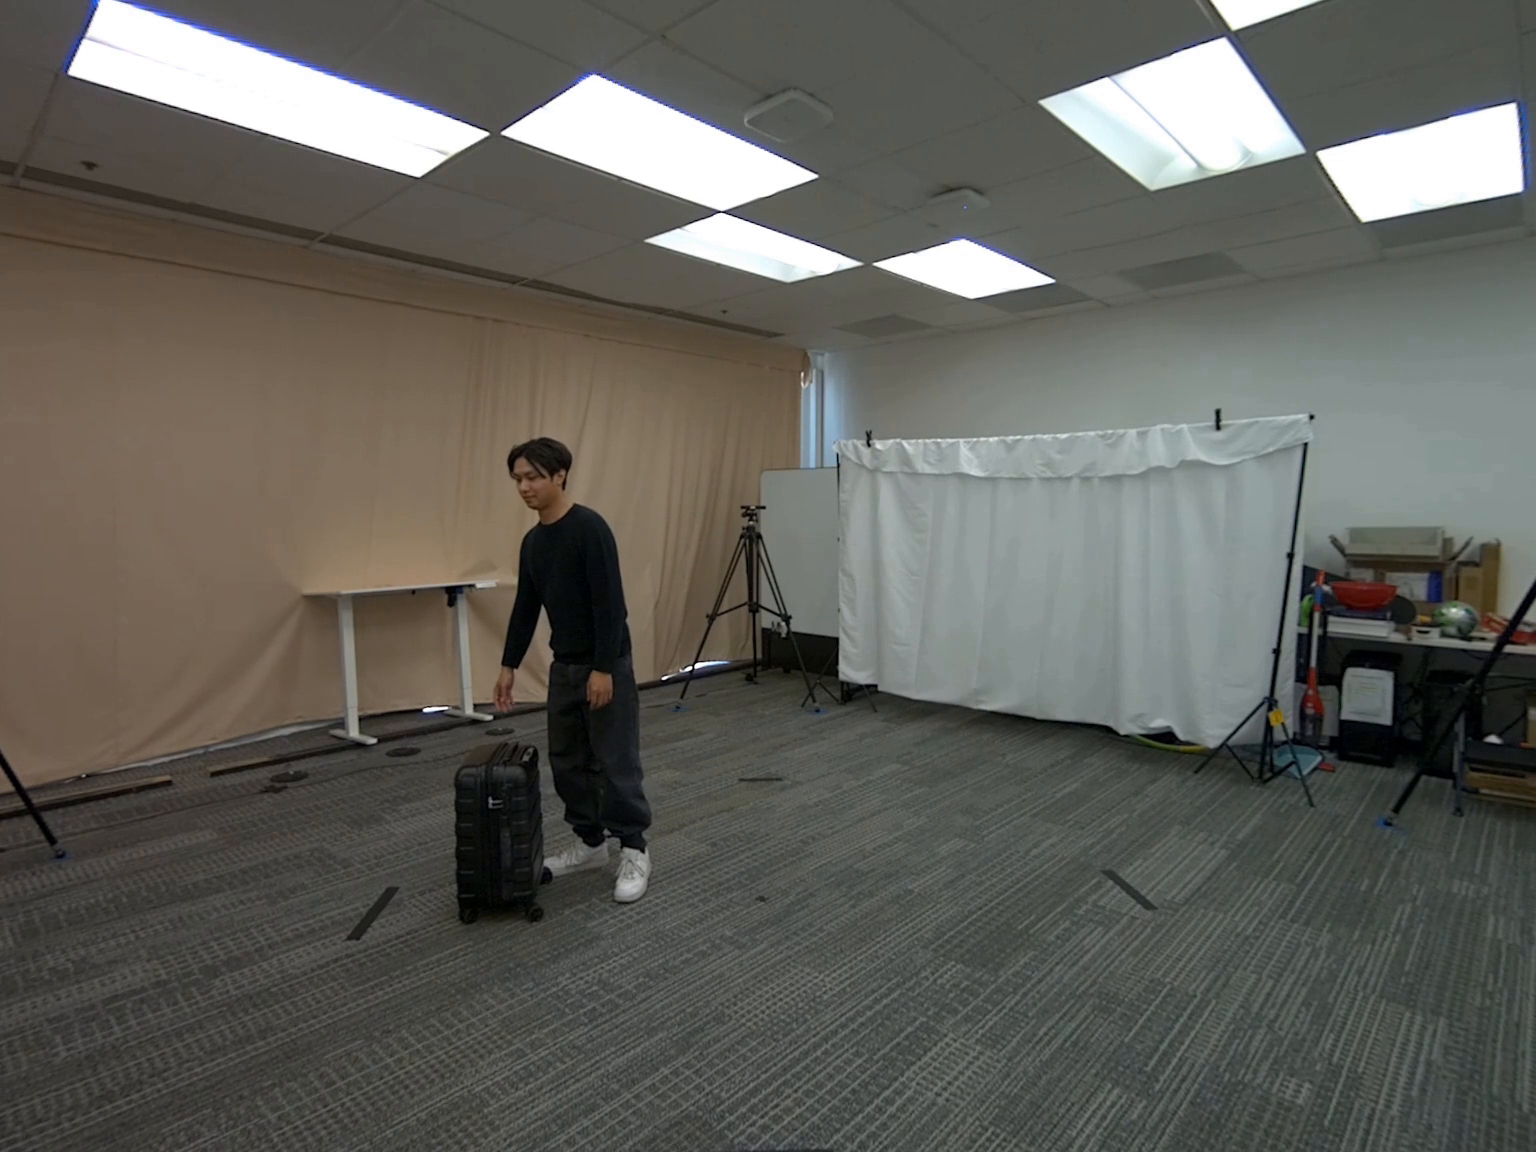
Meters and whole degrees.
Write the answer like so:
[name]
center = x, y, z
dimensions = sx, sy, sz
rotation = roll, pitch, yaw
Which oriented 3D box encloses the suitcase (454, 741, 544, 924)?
[suitcase]
center = -0.941, 0.881, 2.951
dimensions = 0.247, 0.548, 0.378
rotation = -2, 4, -6
